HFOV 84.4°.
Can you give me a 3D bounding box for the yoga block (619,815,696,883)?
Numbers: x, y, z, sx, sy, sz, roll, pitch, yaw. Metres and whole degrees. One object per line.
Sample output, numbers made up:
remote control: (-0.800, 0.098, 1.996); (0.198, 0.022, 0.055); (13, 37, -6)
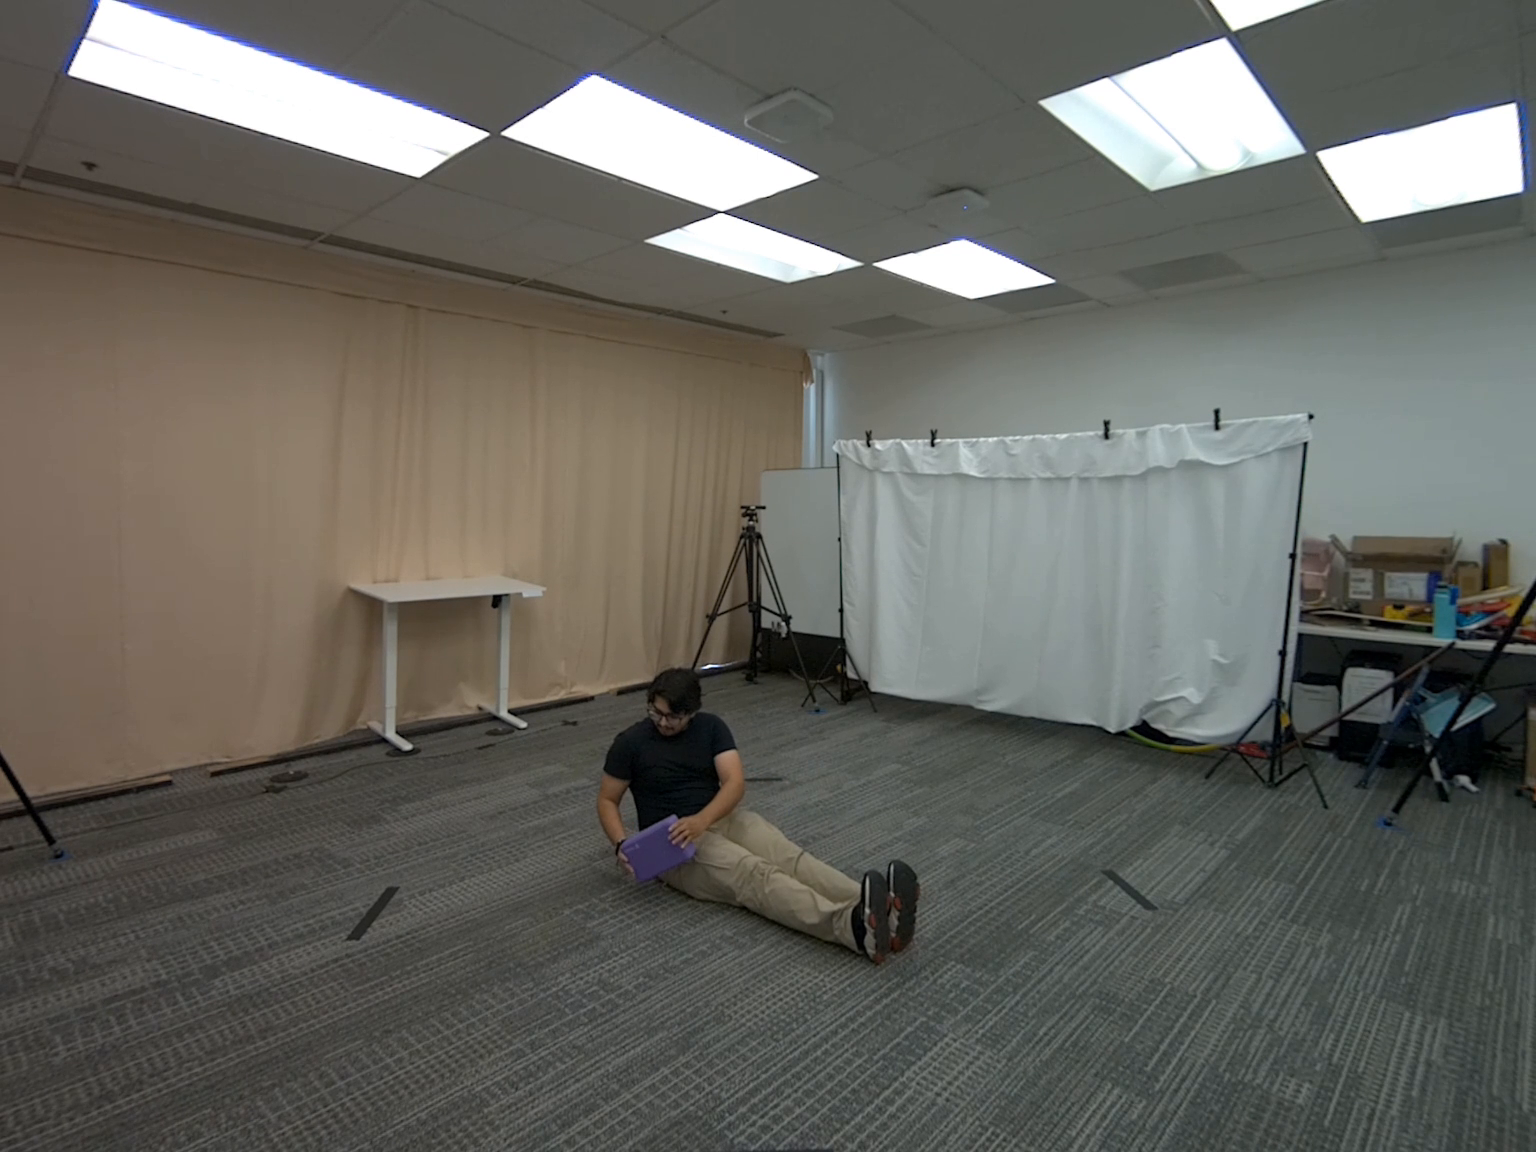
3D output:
yoga block: (-0.384, 0.946, 2.927); (0.231, 0.150, 0.075); (-35, -4, 19)
